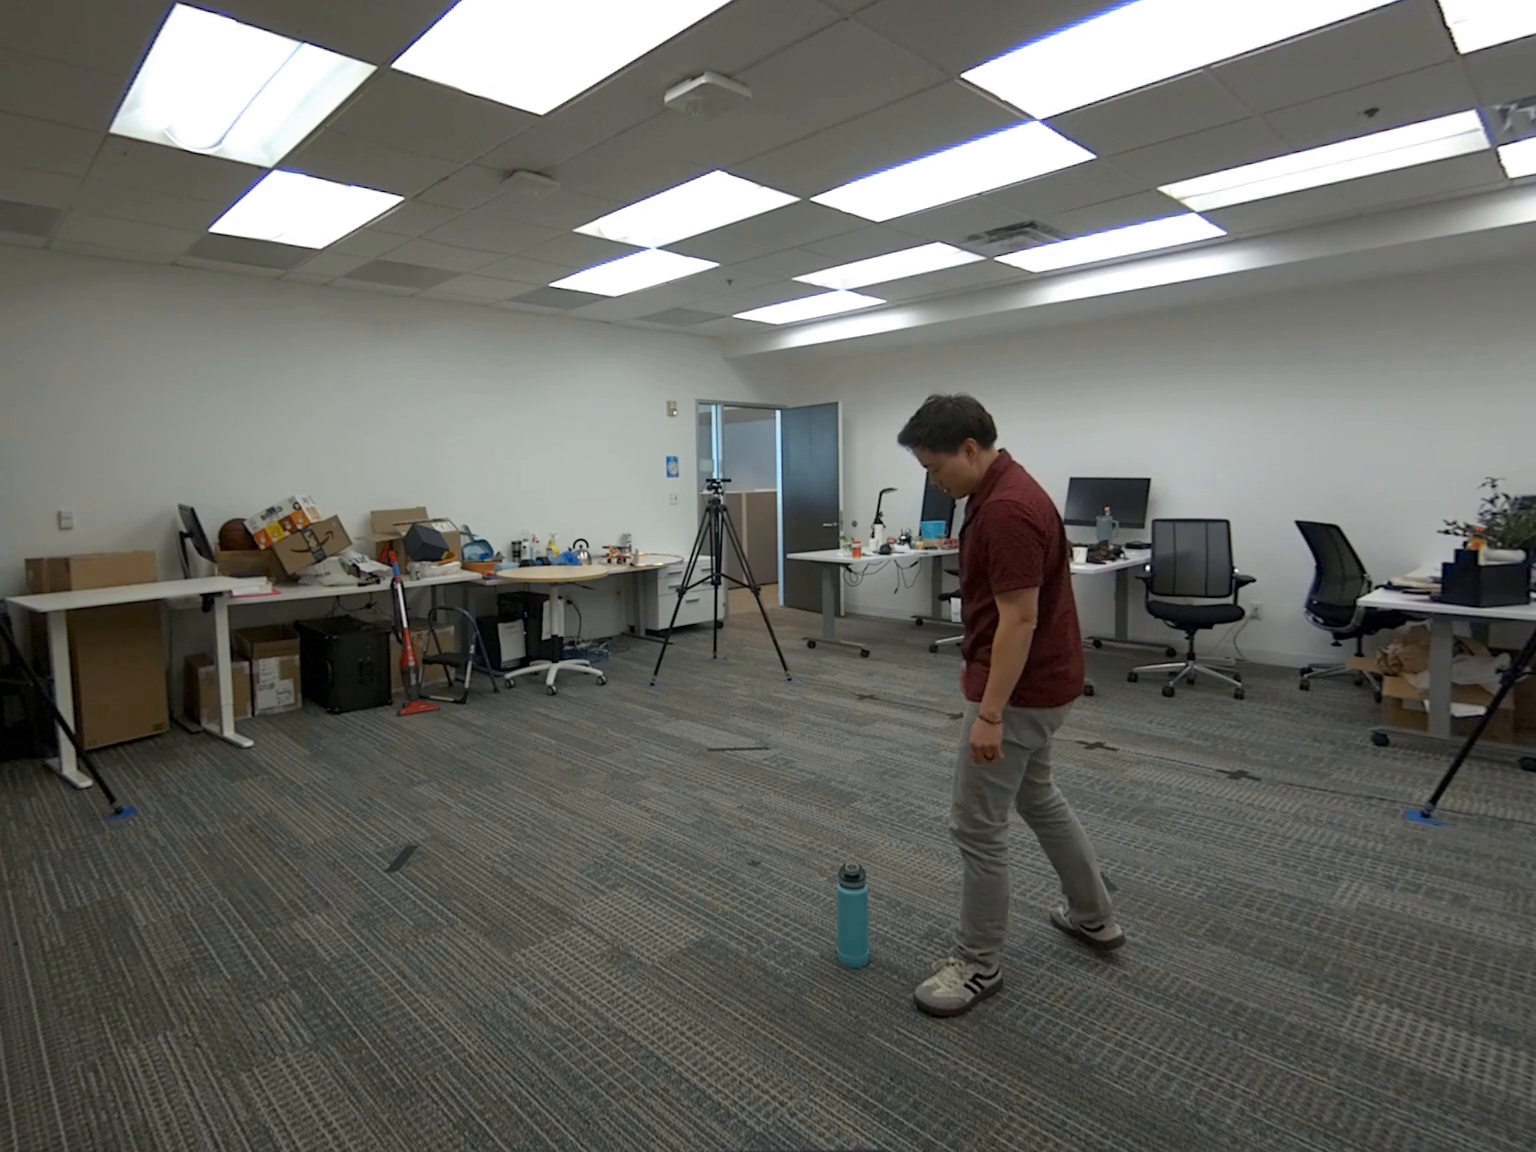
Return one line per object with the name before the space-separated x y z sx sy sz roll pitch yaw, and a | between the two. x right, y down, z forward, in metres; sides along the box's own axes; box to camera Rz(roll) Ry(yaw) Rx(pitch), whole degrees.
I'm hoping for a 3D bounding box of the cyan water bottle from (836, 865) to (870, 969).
cyan water bottle | 0.257 0.975 2.468 0.092 0.283 0.092 -2 2 -2
